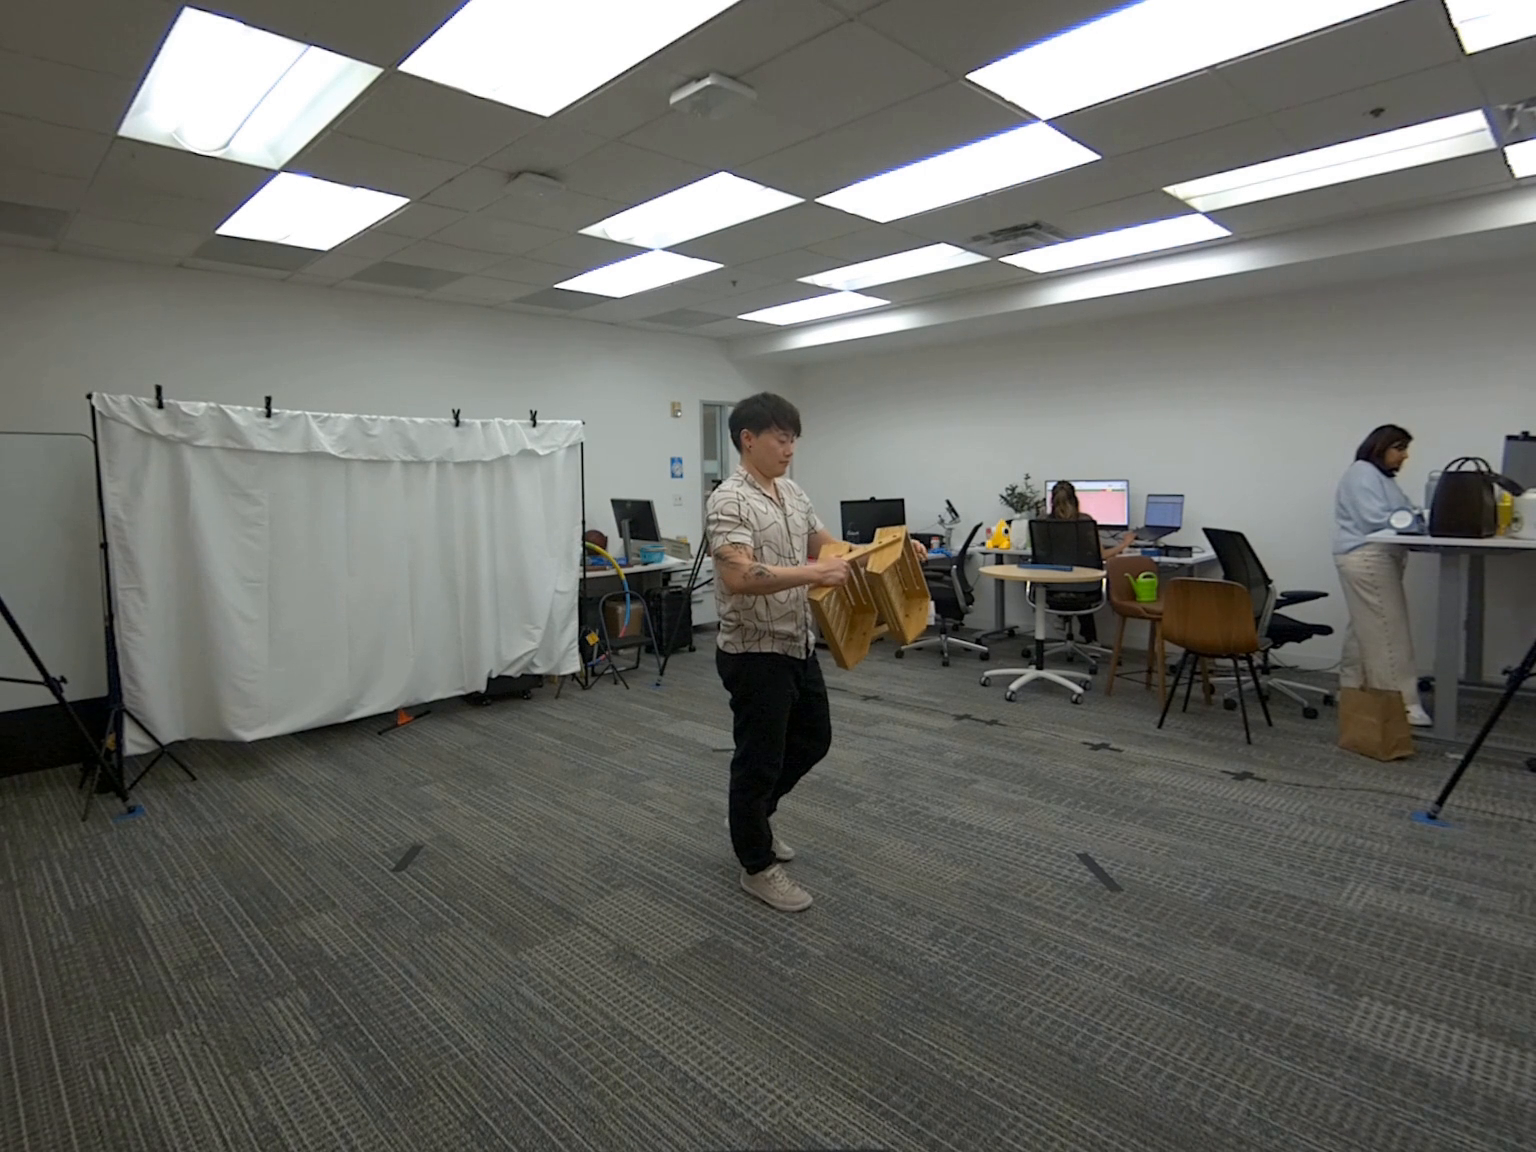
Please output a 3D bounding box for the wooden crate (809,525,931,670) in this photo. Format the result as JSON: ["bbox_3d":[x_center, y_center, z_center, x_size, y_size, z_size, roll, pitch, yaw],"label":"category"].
[{"bbox_3d":[0.317,0.069,2.599,0.279,0.313,0.306,-7,39,25],"label":"wooden crate"}]
